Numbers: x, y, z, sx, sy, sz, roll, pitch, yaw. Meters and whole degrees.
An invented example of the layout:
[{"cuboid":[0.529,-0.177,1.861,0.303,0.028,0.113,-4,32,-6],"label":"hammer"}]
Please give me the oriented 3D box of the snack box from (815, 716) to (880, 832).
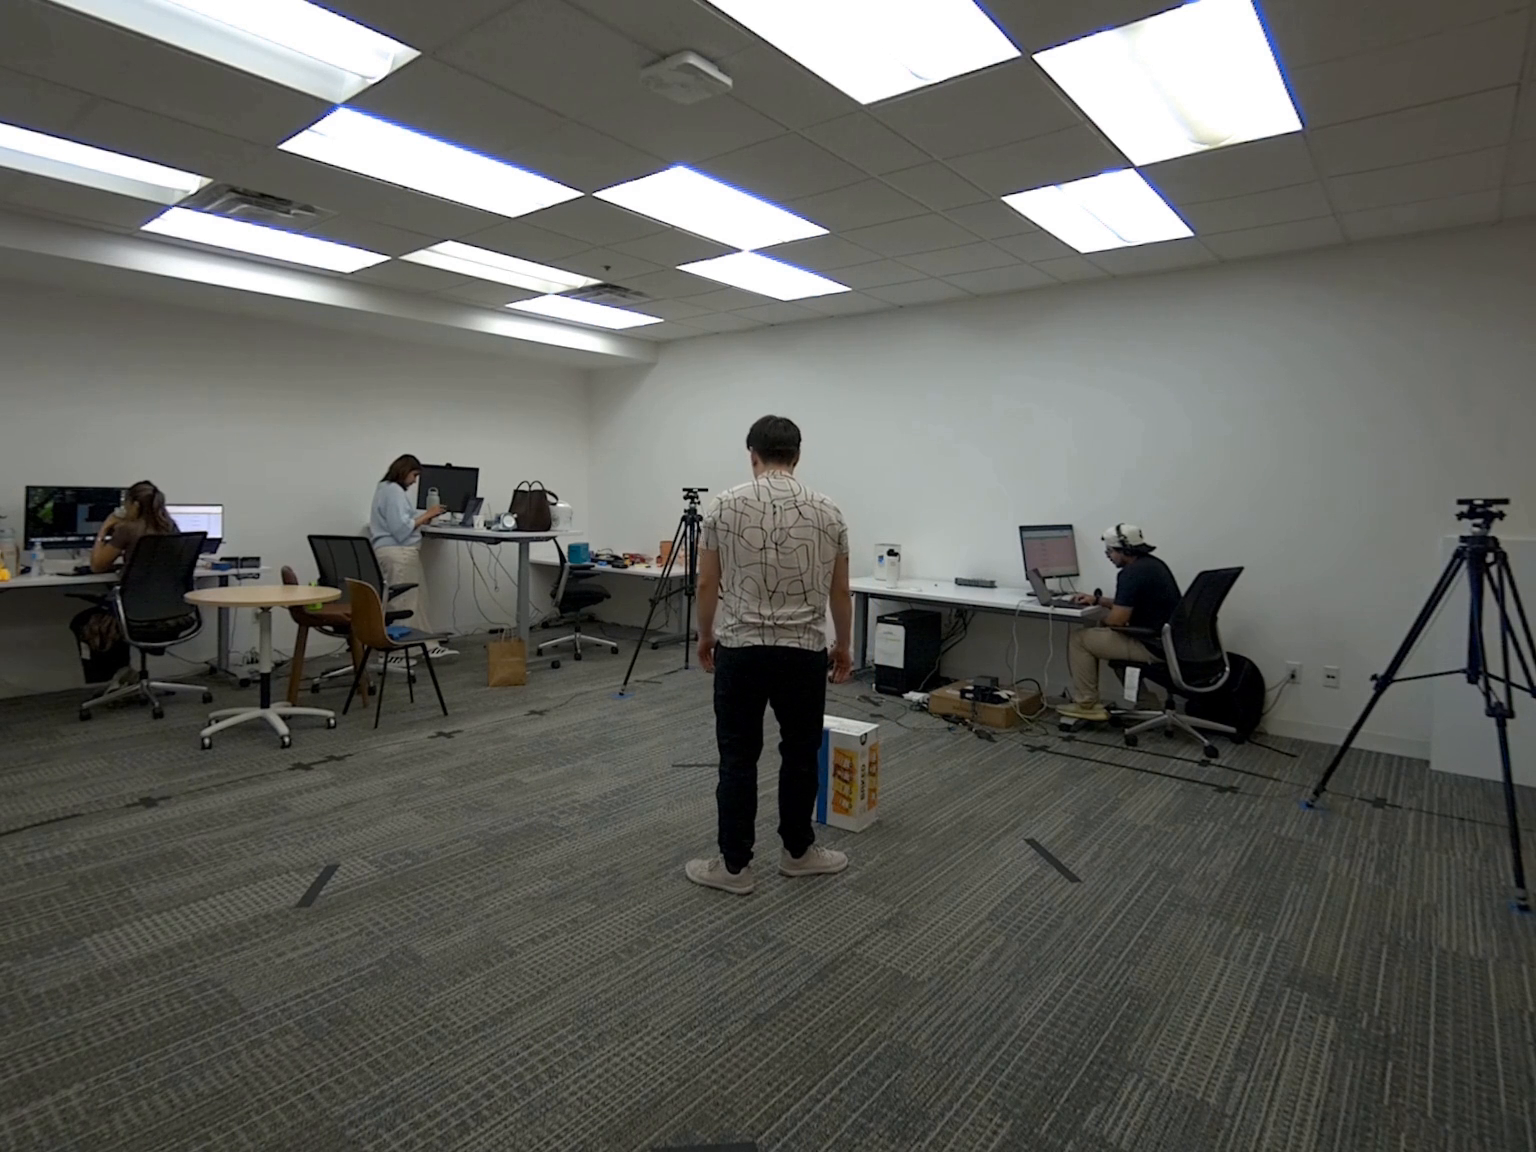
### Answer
[{"cuboid":[0.271,0.829,3.638,0.351,0.404,0.200,4,4,34],"label":"snack box"}]
